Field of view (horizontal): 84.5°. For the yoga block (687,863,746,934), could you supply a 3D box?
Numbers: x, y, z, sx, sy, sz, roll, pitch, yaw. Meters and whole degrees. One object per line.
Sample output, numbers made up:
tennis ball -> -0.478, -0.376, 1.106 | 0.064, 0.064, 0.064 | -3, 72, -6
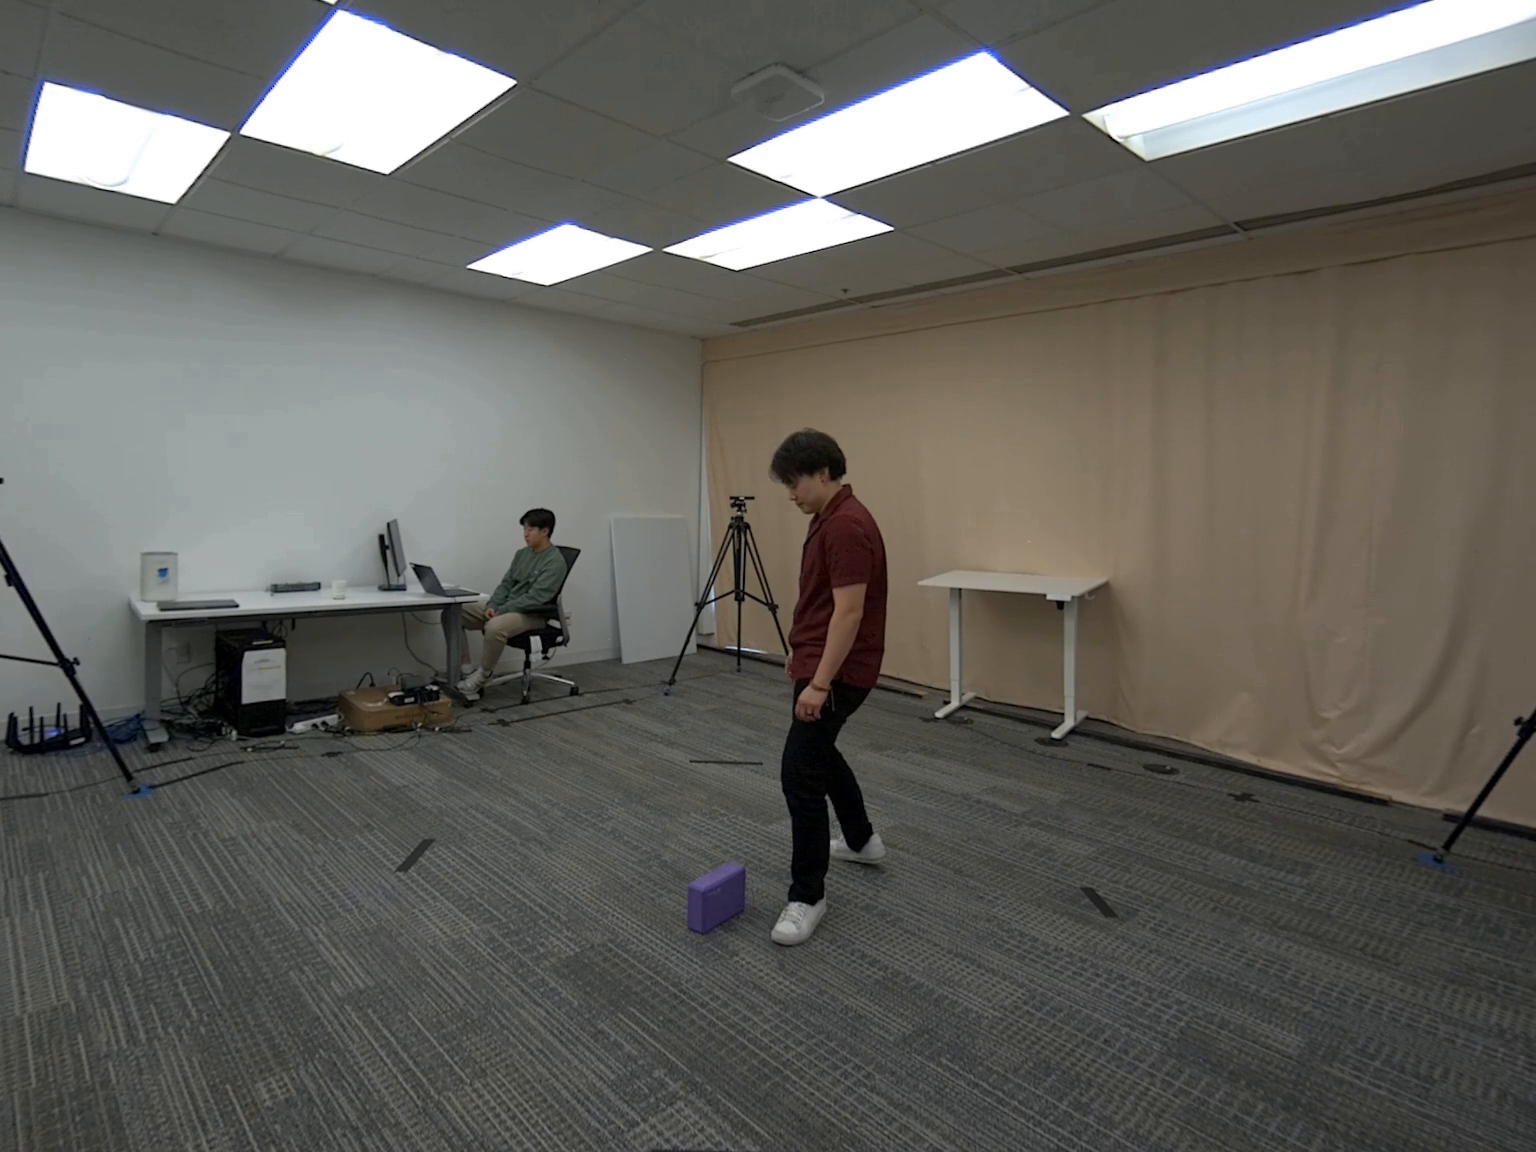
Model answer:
yoga block -> -0.173, 1.055, 2.773 | 0.078, 0.148, 0.225 | 3, 5, 34
